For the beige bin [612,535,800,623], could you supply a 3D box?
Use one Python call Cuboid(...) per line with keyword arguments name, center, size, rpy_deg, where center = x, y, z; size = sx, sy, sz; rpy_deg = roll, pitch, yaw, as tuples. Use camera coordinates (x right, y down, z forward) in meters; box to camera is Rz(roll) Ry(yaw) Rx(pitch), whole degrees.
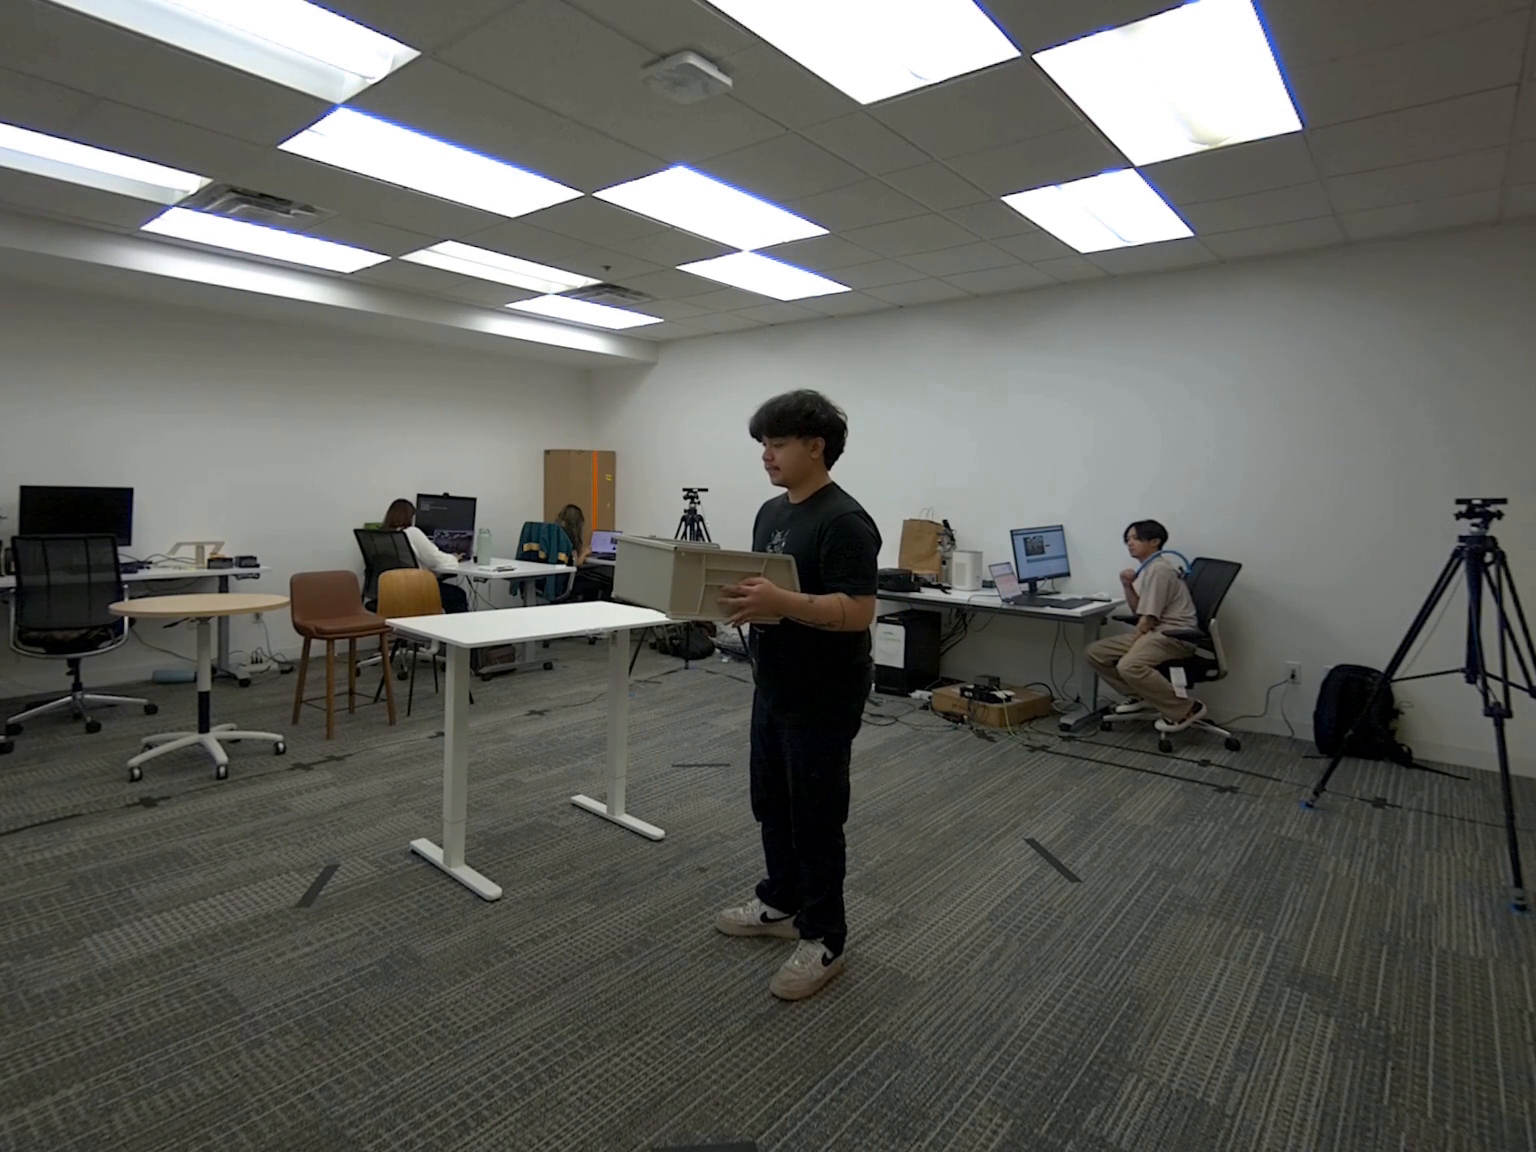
Cuboid(name="beige bin", center=(-0.199, 0.007, 2.301), size=(0.368, 0.188, 0.435), rpy_deg=(3, 5, -26))
